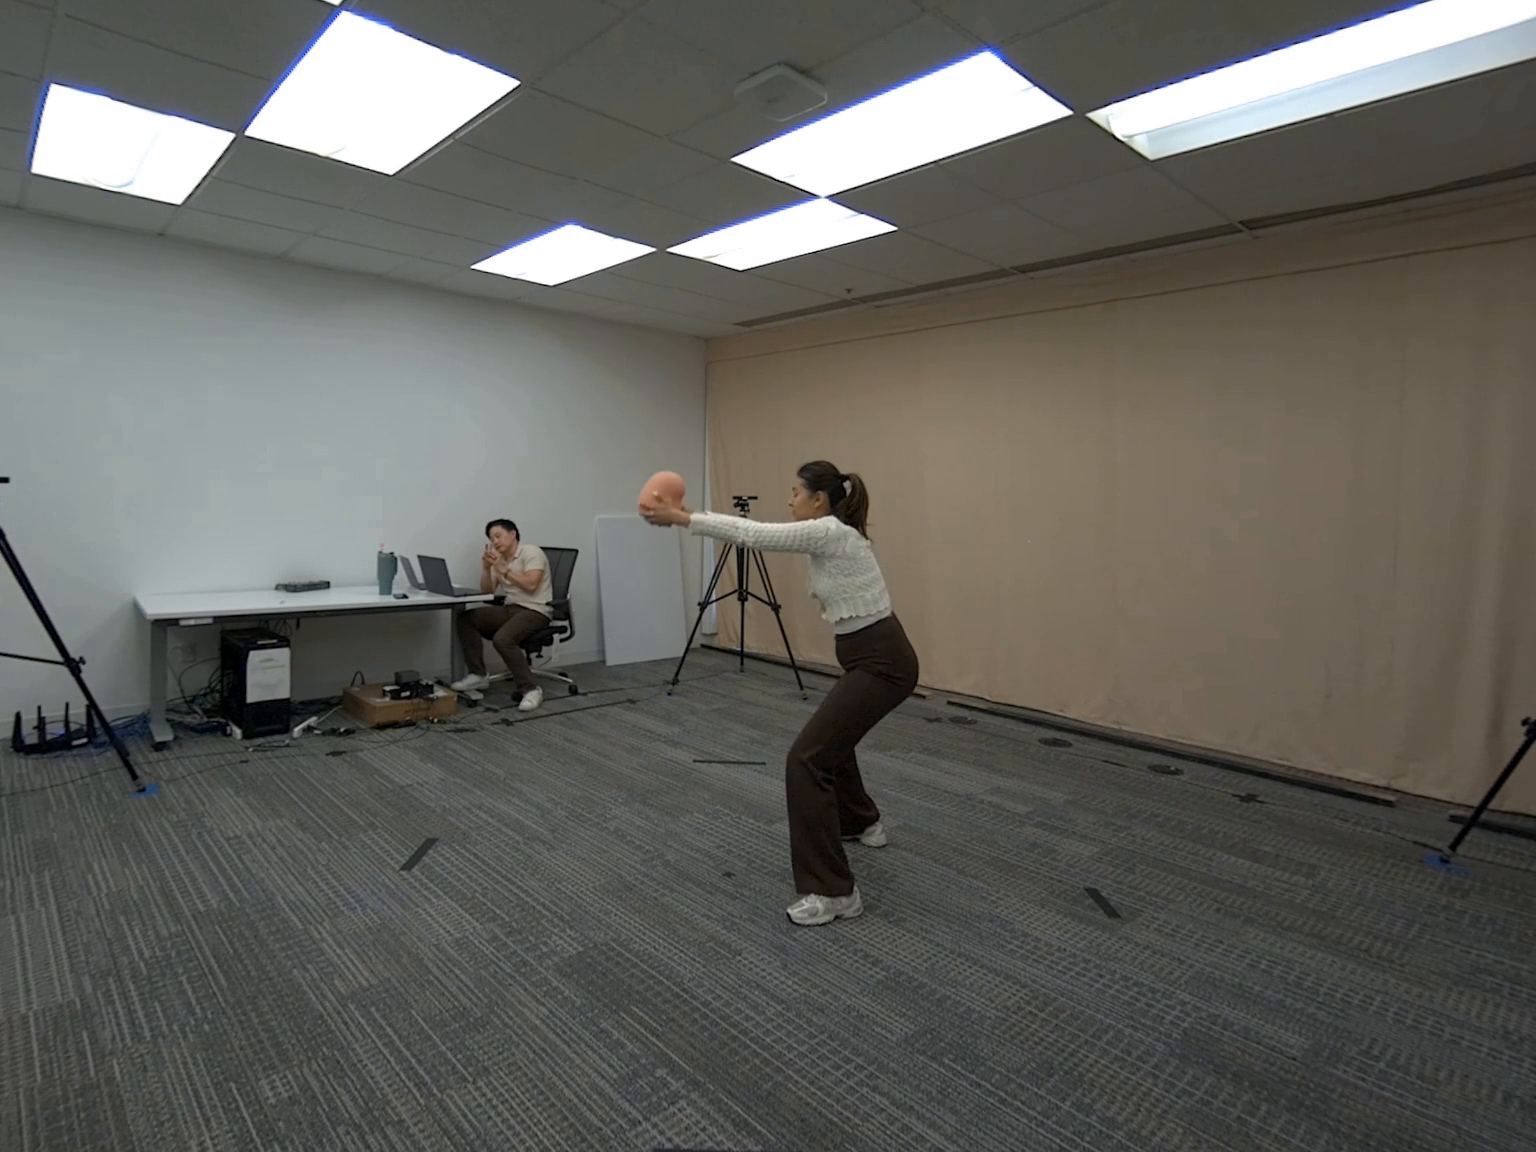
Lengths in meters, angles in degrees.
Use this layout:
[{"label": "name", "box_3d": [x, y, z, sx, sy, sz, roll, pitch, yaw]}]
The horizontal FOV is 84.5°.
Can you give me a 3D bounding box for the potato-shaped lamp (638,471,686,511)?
[{"label": "potato-shaped lamp", "box_3d": [-0.392, -0.306, 3.200, 0.176, 0.198, 0.161, 40, 9, 24]}]
